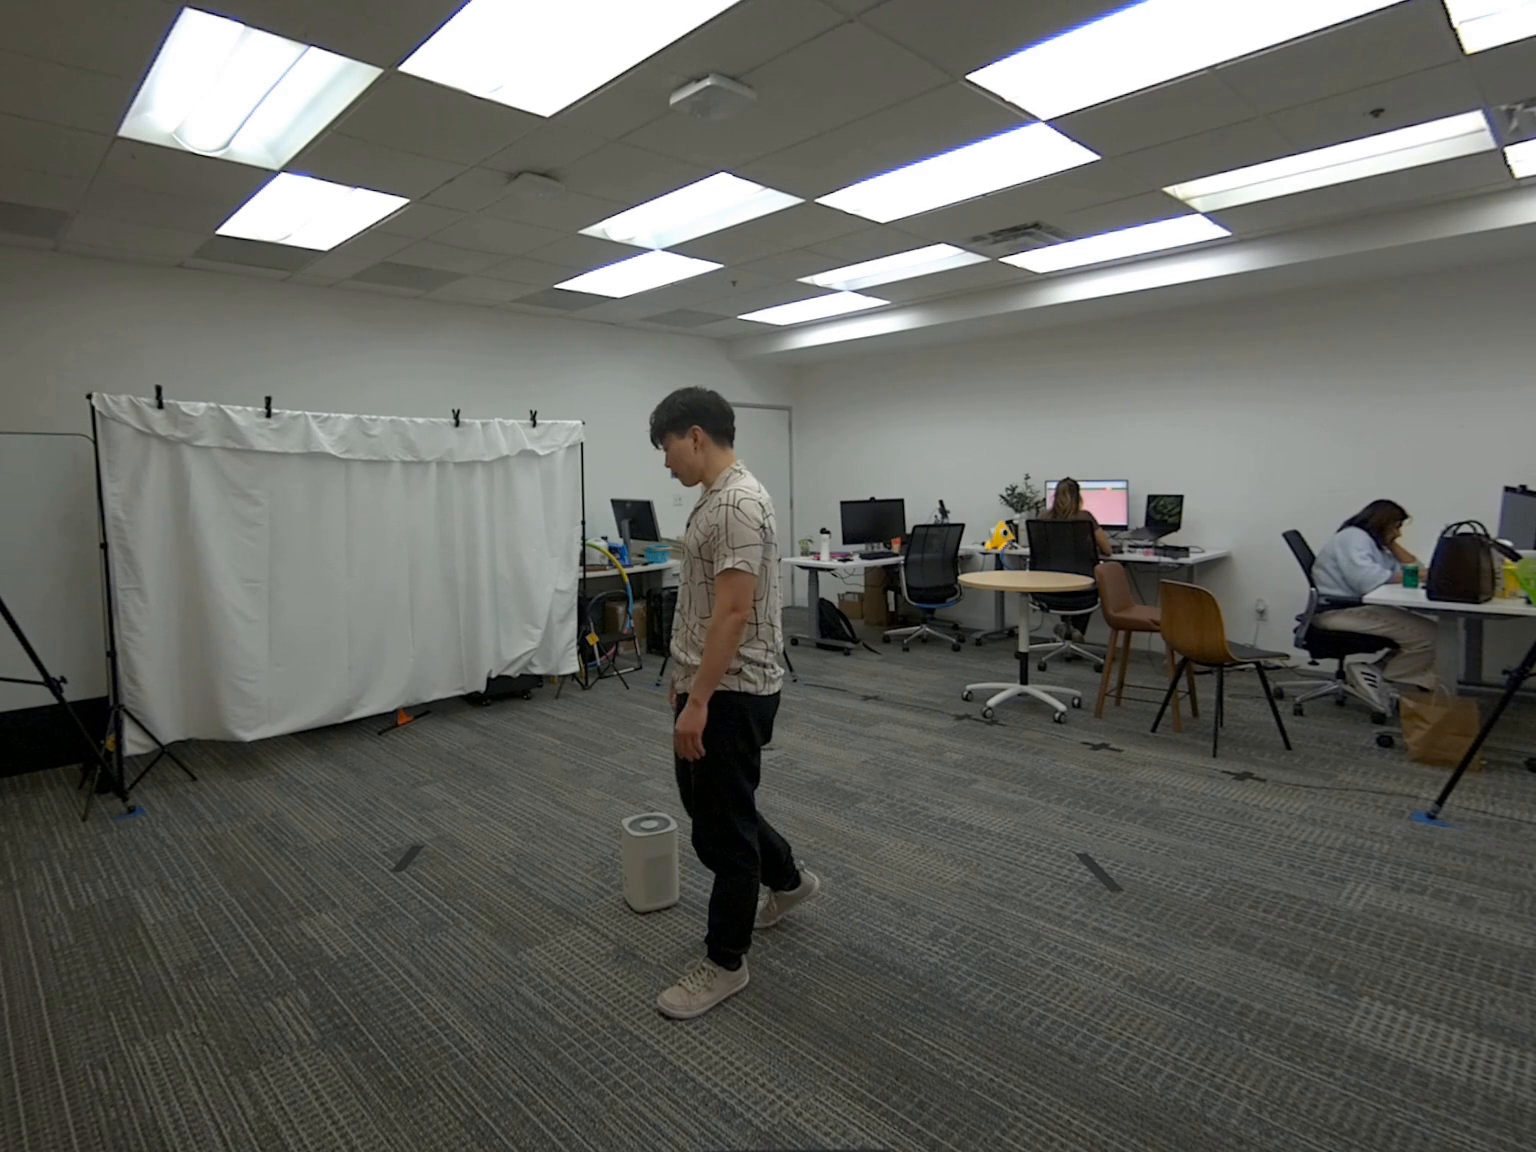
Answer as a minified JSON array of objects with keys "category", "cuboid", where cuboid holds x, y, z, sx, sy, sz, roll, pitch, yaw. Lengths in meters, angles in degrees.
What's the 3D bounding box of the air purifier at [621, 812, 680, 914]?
[{"category":"air purifier","cuboid":[-0.387,0.951,2.834,0.167,0.264,0.176,-2,5,-26]}]
